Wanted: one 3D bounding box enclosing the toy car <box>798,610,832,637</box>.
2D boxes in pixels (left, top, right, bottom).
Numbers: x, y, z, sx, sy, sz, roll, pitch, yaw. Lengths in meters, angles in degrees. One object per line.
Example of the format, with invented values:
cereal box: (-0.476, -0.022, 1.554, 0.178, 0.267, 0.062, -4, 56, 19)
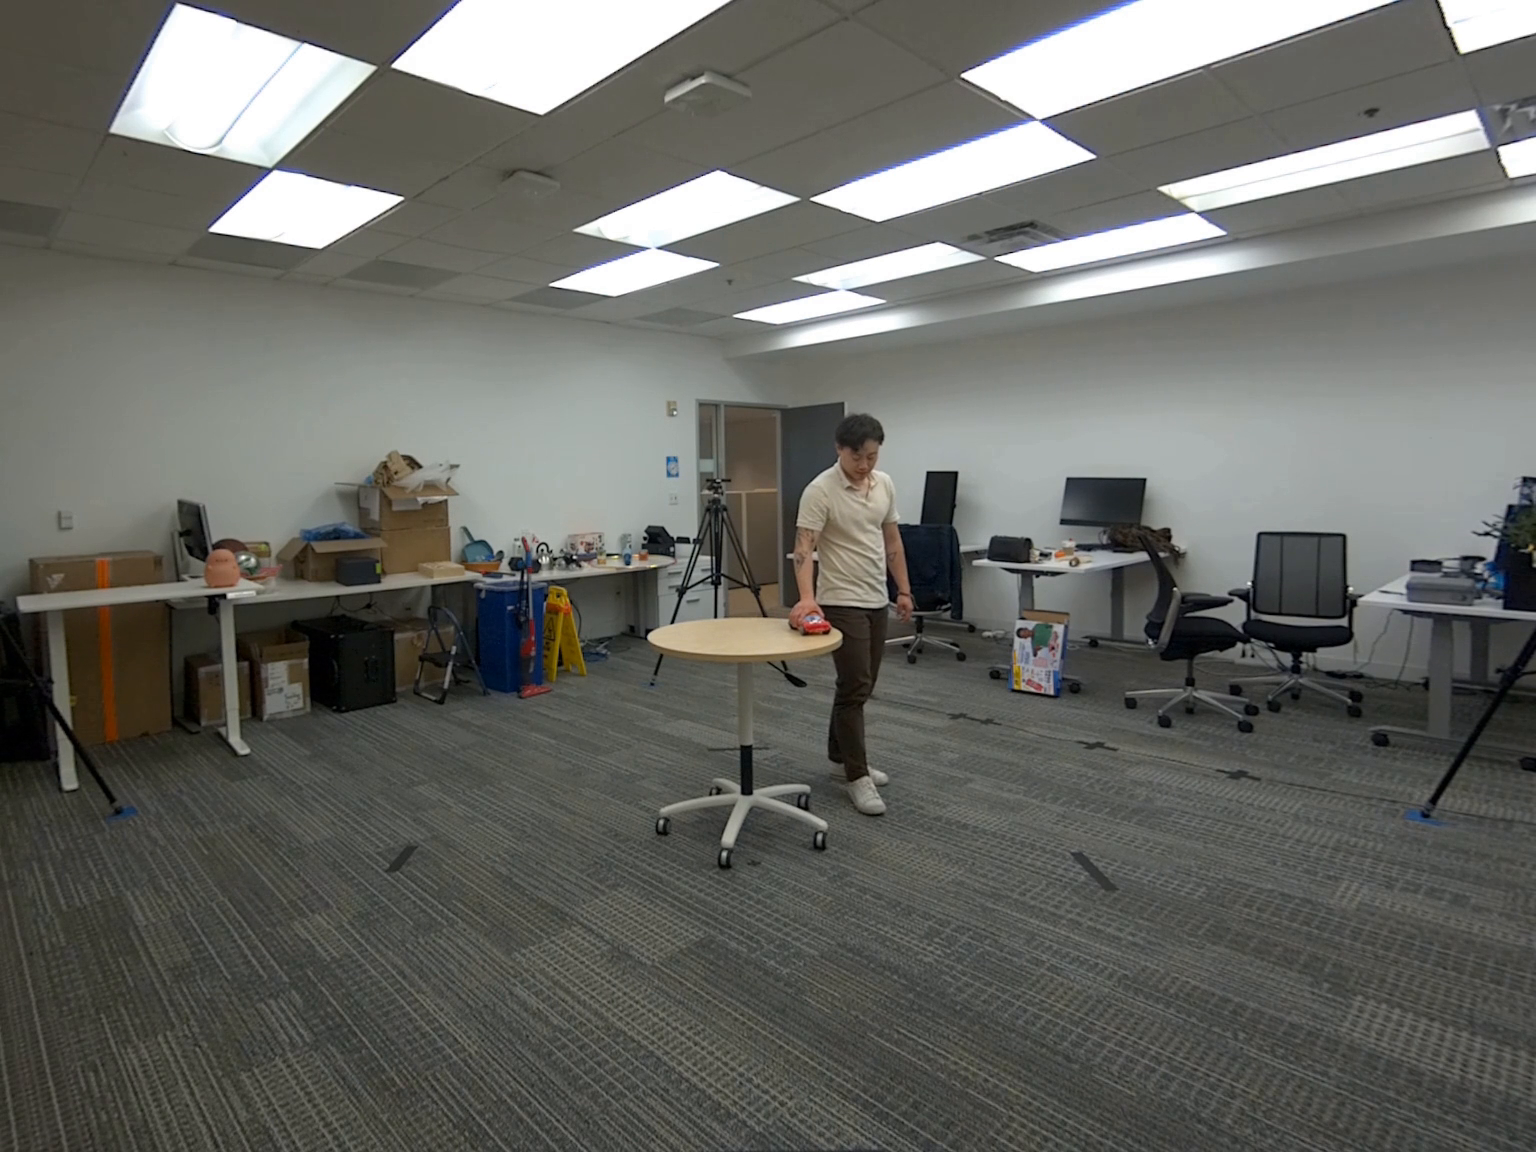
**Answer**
toy car: (0.161, 0.187, 3.437, 0.129, 0.082, 0.261, -2, 18, -13)
